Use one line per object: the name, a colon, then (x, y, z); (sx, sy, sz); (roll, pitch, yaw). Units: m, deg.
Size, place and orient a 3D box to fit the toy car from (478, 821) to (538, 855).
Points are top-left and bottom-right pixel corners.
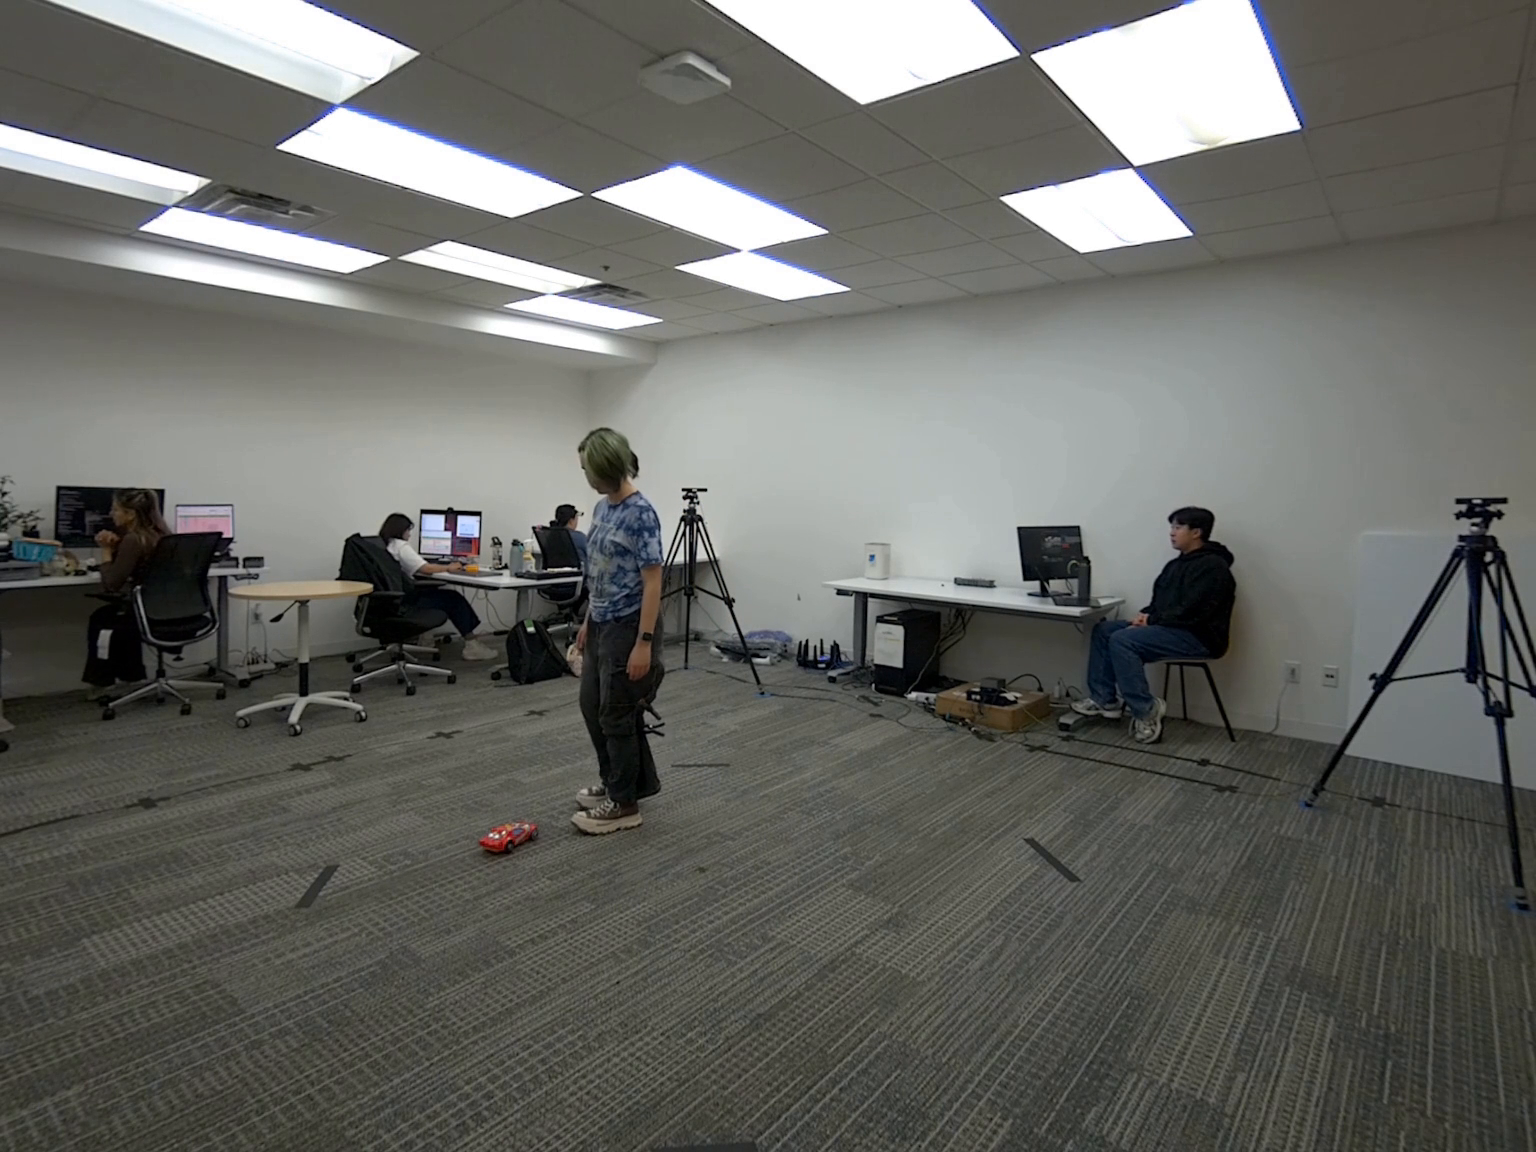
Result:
toy car: (-1.023, 1.009, 3.283); (0.134, 0.084, 0.246); (3, -6, 27)
